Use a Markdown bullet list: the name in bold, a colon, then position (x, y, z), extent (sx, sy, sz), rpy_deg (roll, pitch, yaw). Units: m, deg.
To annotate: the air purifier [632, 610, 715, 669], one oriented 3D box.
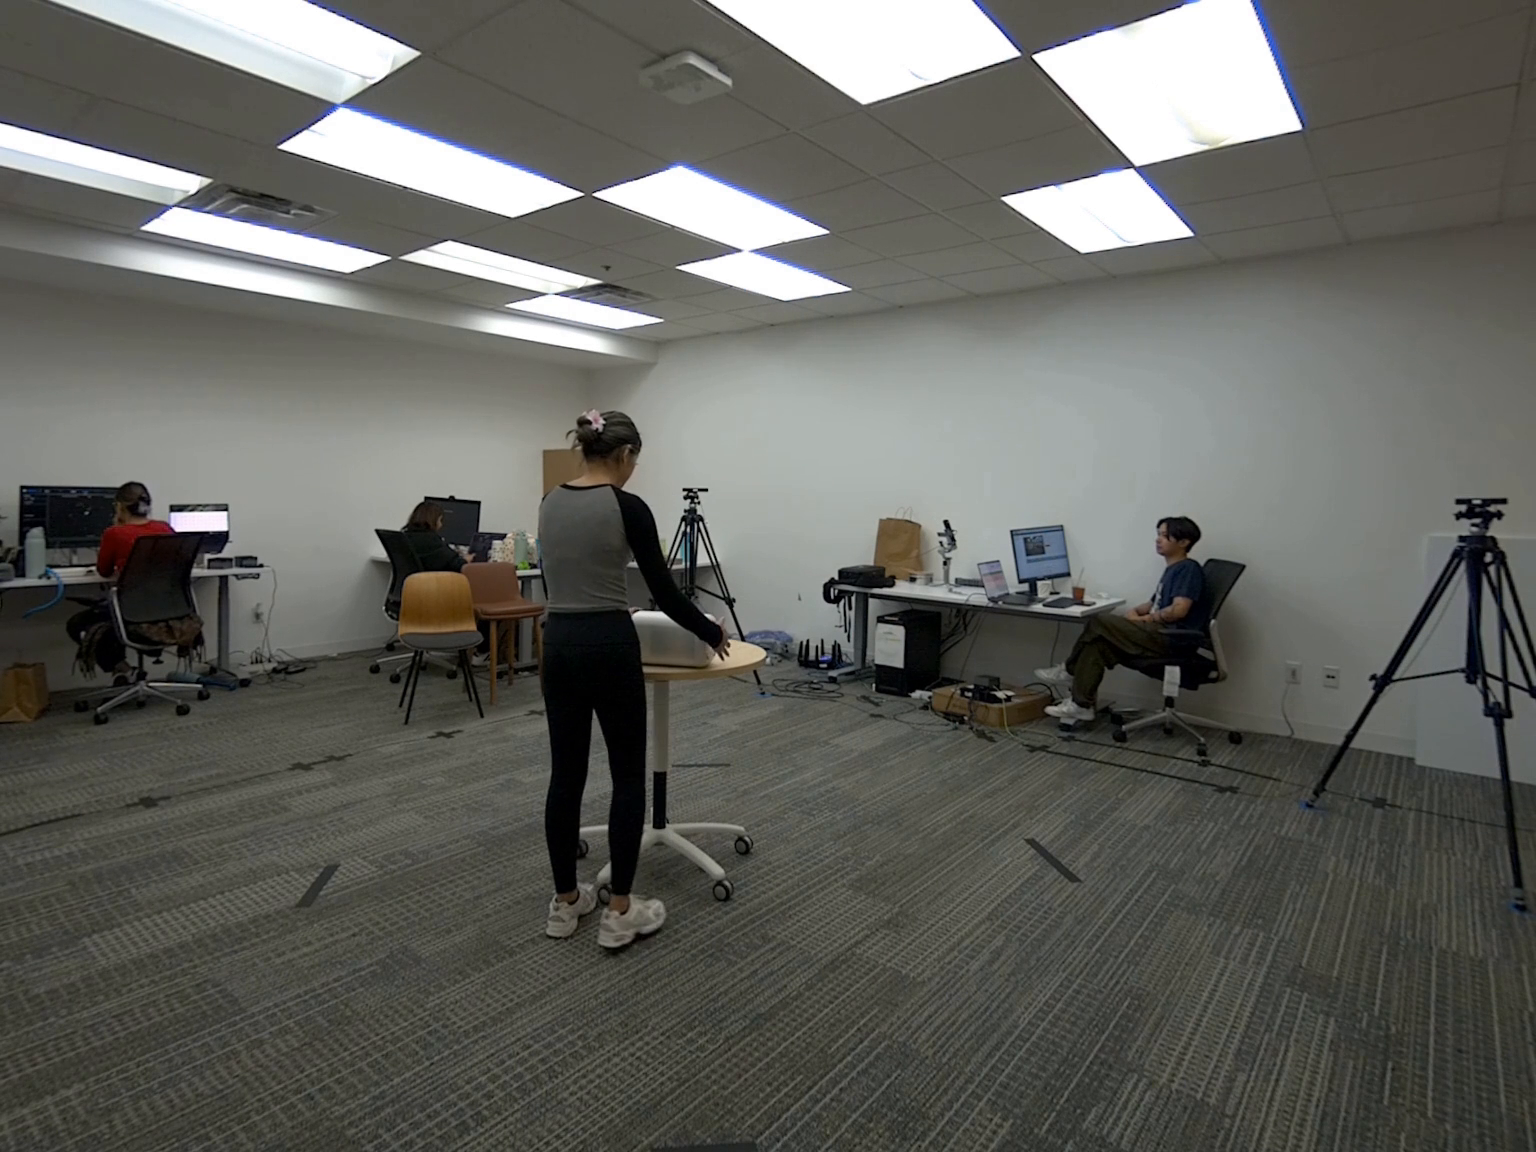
- **air purifier**: position (-0.333, 0.209, 2.873), extent (0.268, 0.171, 0.169), rpy_deg (1, 2, 10)
